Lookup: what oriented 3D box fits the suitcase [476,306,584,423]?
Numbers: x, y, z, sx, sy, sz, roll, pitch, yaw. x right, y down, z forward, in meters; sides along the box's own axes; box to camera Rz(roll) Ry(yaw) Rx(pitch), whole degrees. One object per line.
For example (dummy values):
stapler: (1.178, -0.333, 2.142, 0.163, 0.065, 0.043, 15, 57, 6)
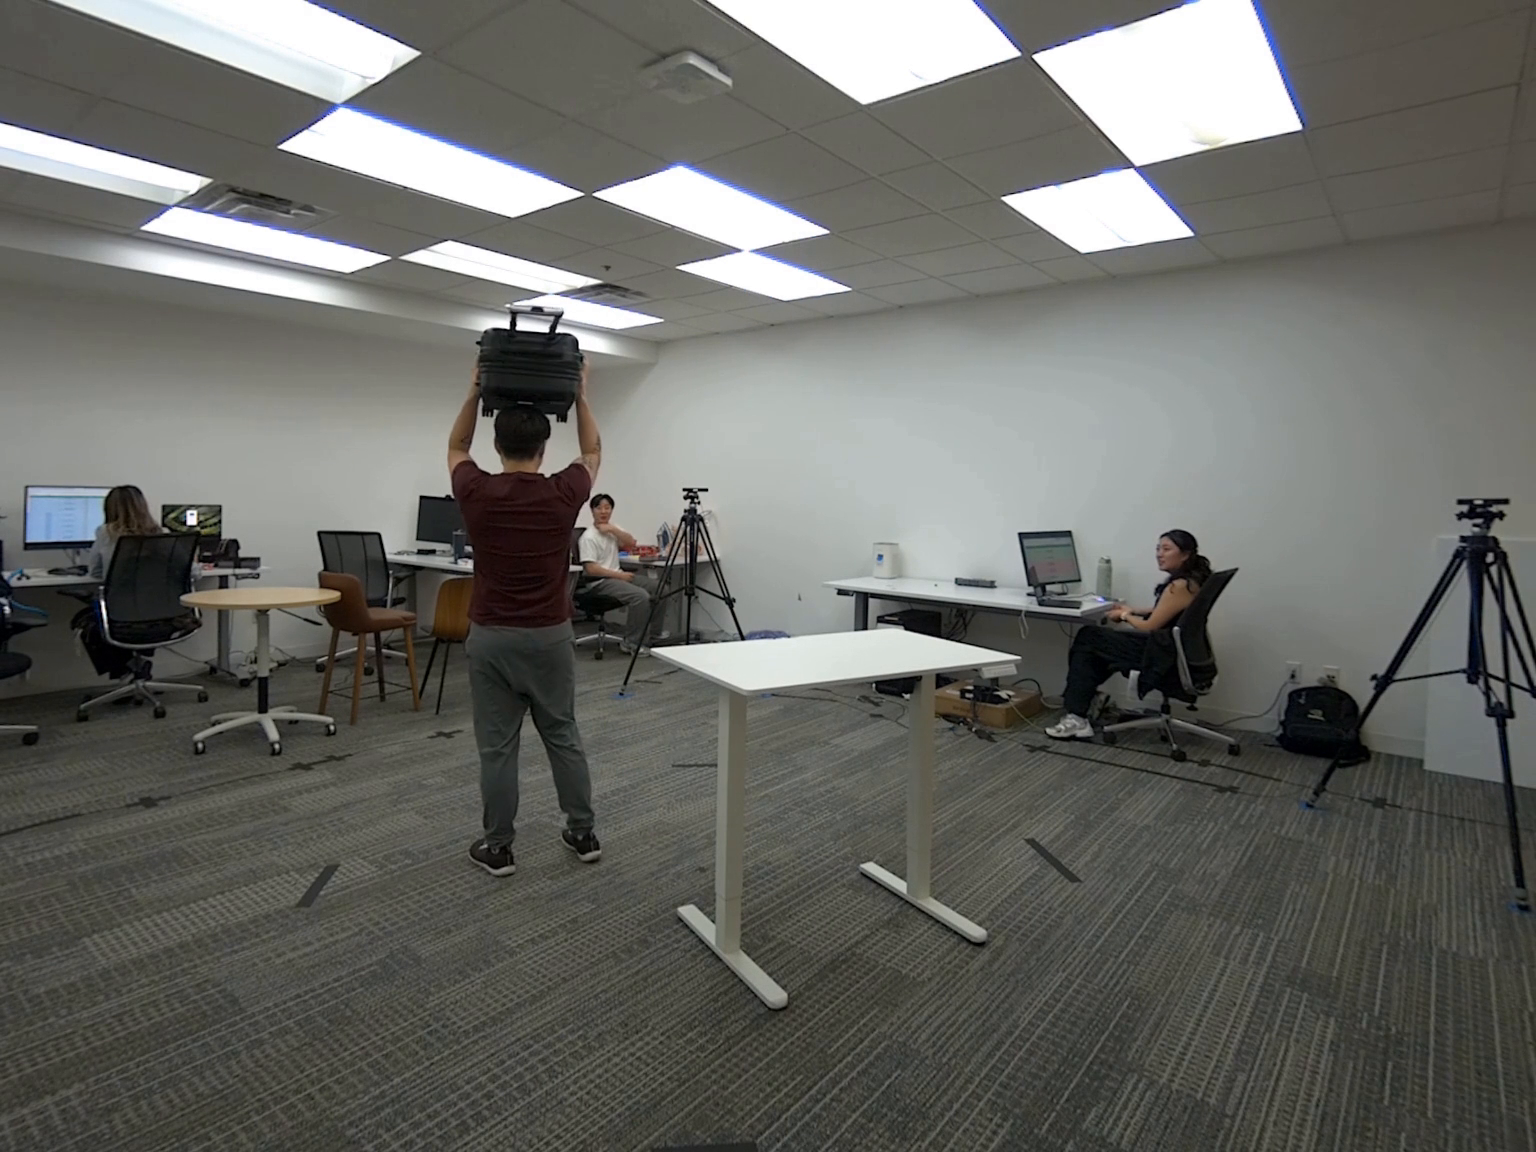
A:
suitcase: (-0.843, -0.740, 2.983, 0.377, 0.256, 0.999, 3, 5, -17)
